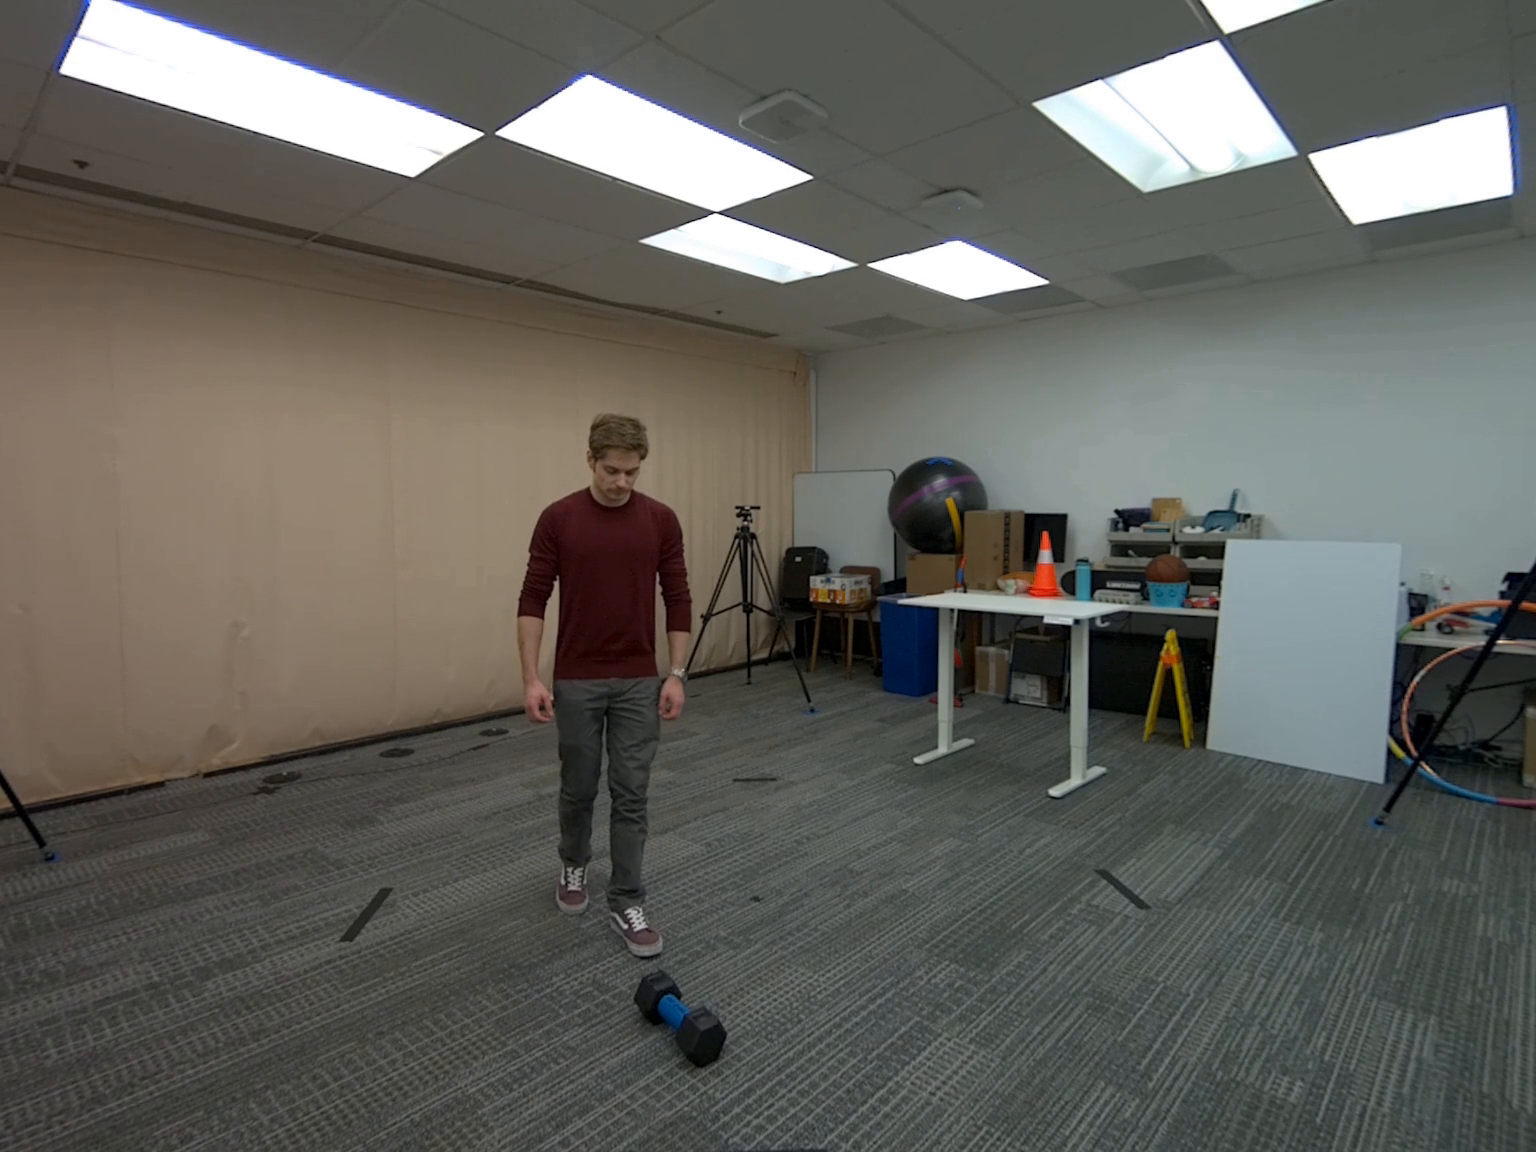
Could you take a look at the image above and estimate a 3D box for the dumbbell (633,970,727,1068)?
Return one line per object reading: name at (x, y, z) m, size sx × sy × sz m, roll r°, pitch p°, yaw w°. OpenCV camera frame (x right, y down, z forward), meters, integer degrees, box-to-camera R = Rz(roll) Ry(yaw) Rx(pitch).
dumbbell at (-0.235, 1.160, 2.204) m, size 0.107 × 0.120 × 0.303 m, roll -39°, pitch 25°, yaw -28°
